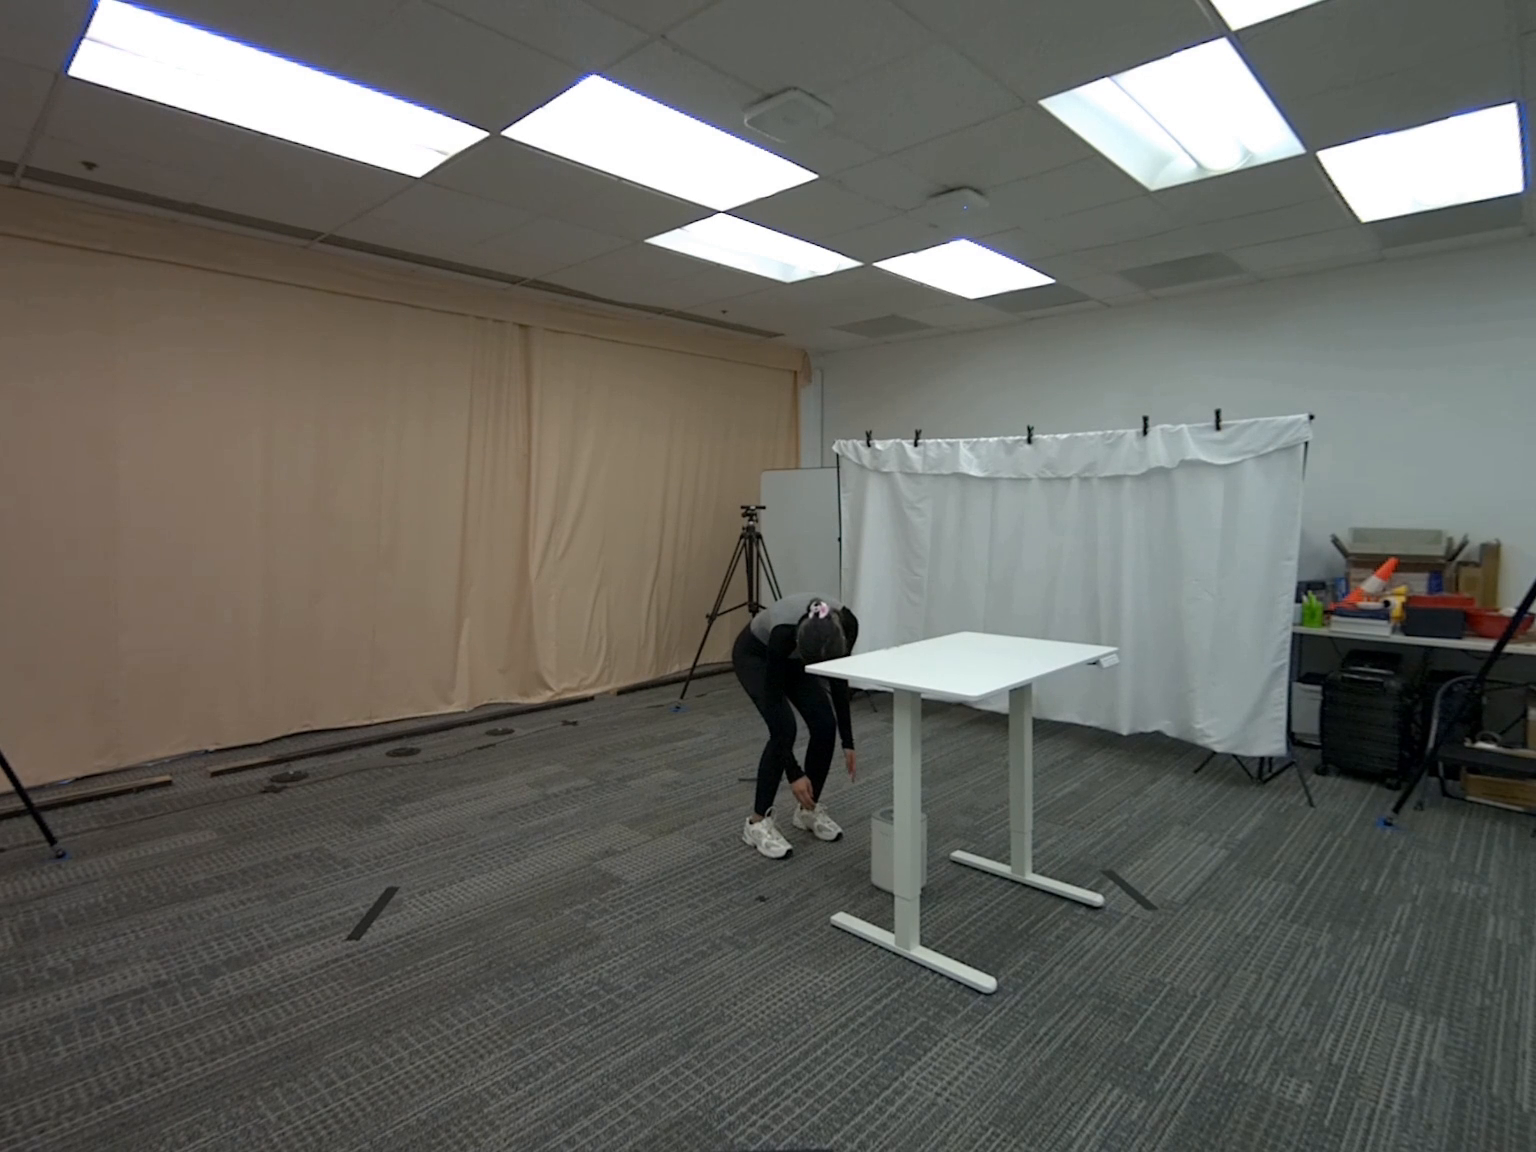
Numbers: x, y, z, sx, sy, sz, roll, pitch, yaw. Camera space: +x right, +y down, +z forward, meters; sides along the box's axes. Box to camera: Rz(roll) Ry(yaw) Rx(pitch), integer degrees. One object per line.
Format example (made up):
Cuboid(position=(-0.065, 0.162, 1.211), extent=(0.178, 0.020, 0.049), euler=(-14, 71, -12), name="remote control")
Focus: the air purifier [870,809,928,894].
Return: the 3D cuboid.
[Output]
Cuboid(position=(0.480, 0.997, 3.074), extent=(0.177, 0.265, 0.166), euler=(3, 5, 42), name="air purifier")
